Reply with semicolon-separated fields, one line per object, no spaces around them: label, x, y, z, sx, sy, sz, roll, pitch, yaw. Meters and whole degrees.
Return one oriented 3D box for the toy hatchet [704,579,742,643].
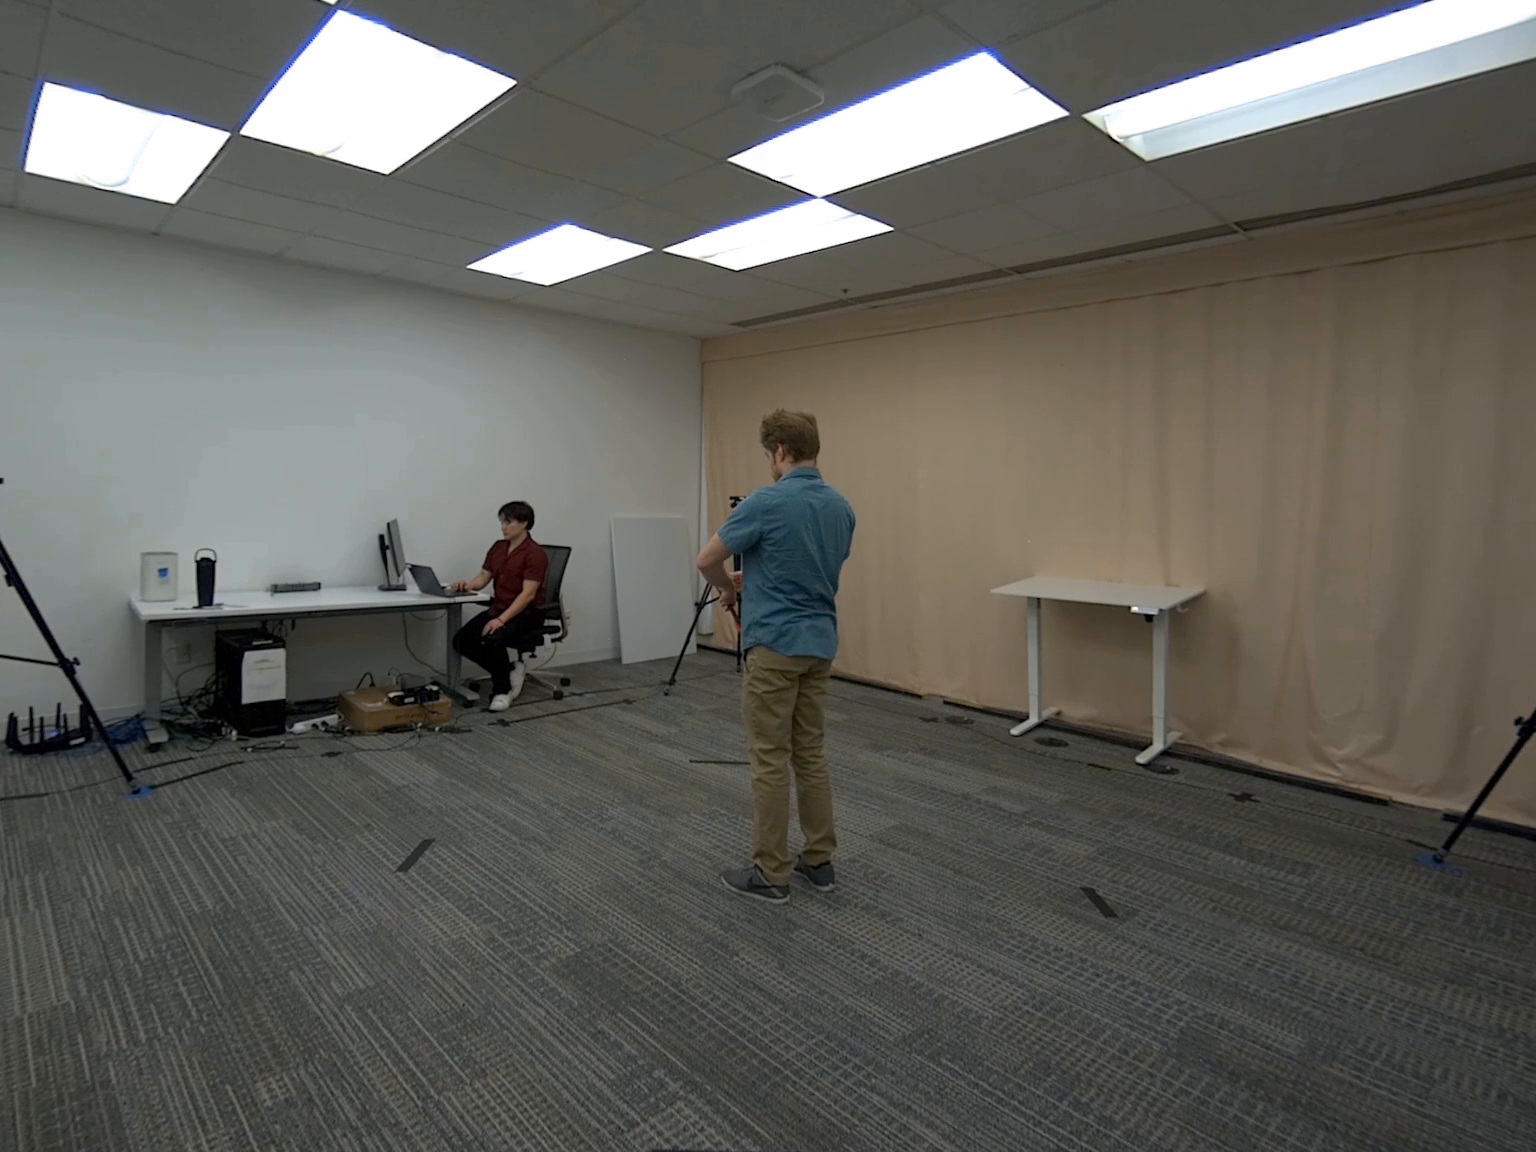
toy hatchet;-0.164;0.130;3.315;0.029;0.275;0.129;-32;-16;-11
